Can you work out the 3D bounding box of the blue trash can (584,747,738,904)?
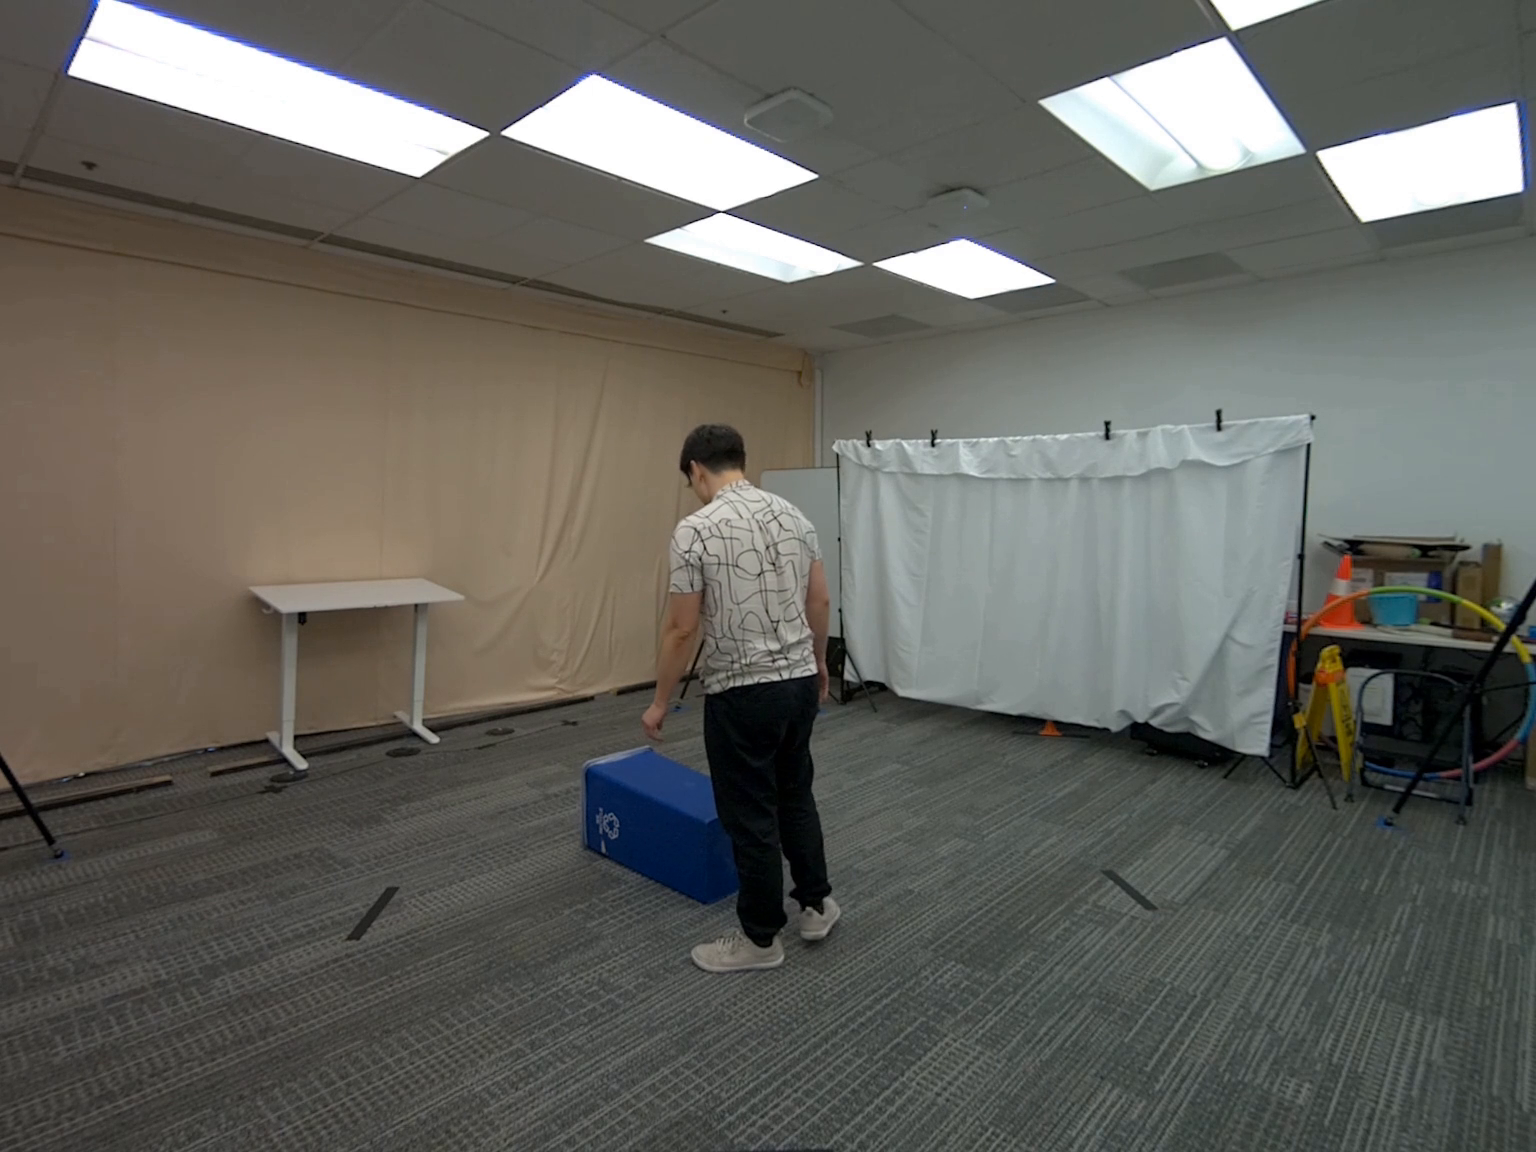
[{"bbox_3d":[-0.371,0.948,3.267,0.362,0.377,0.738,-3,7,-44],"label":"blue trash can"}]
